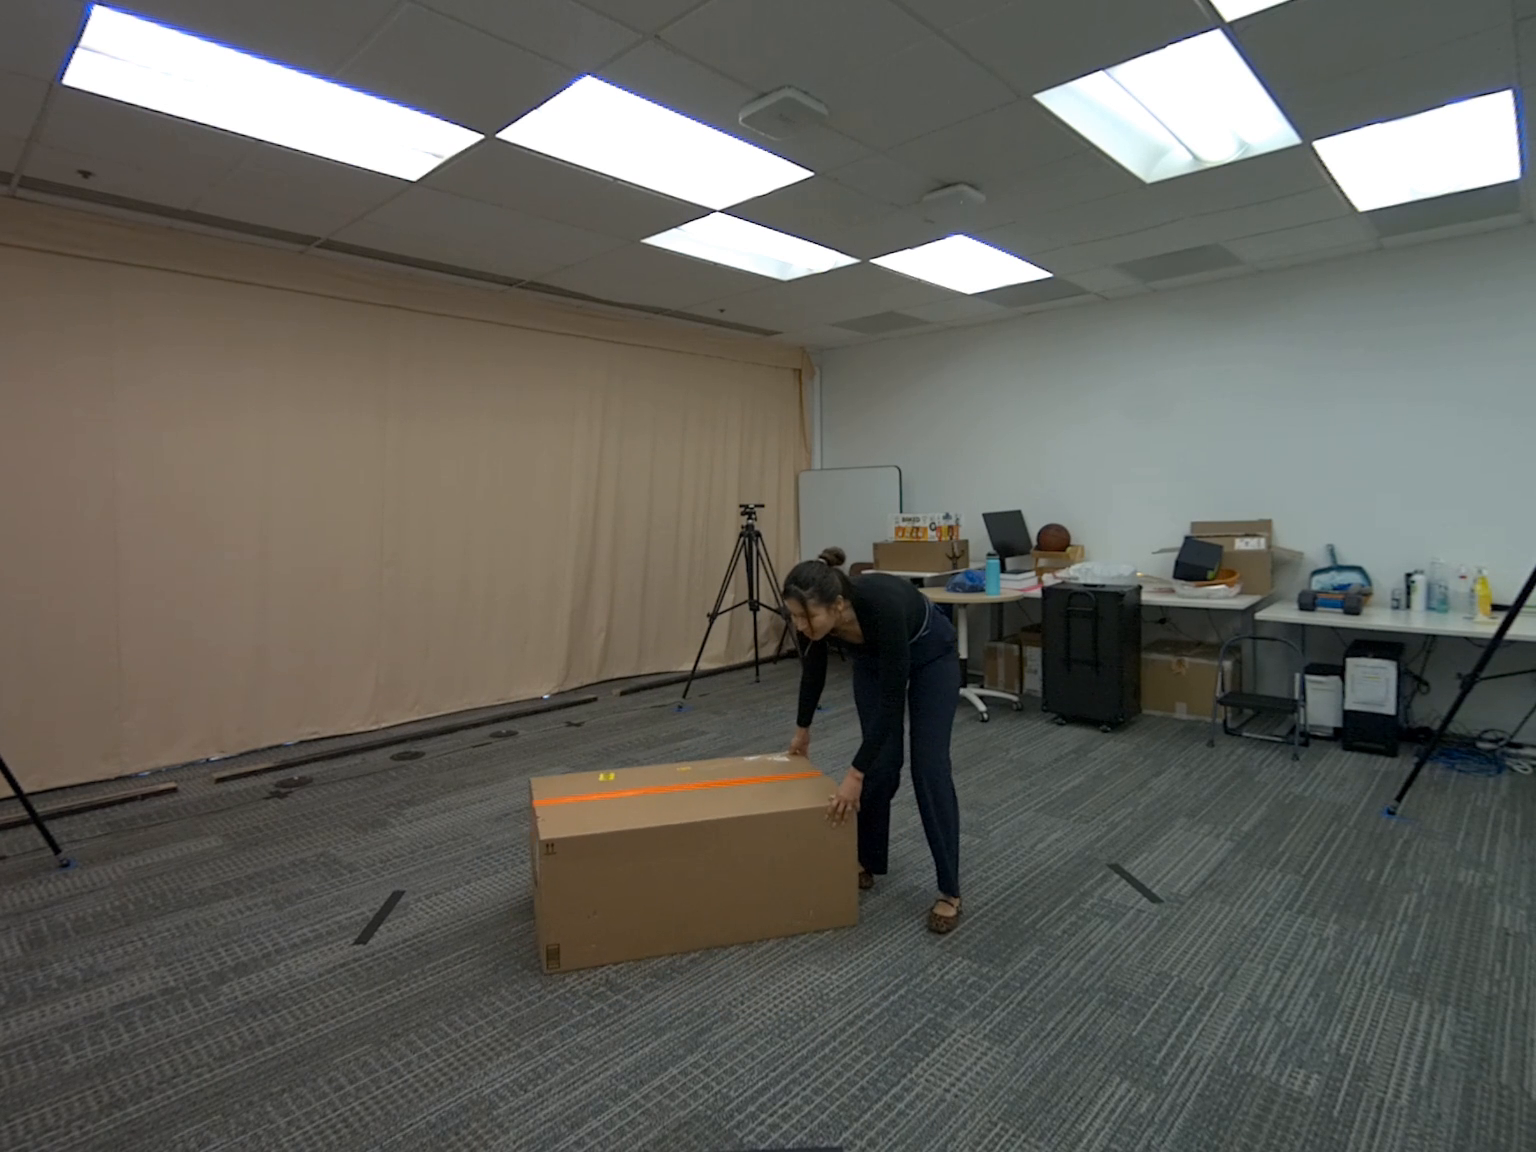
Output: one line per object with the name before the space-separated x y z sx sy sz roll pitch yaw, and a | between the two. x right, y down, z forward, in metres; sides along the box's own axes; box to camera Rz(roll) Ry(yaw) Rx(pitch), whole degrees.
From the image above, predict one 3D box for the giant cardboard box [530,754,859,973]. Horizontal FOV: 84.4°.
giant cardboard box | -0.280 0.936 2.906 1.010 0.425 0.588 -2 5 -16
